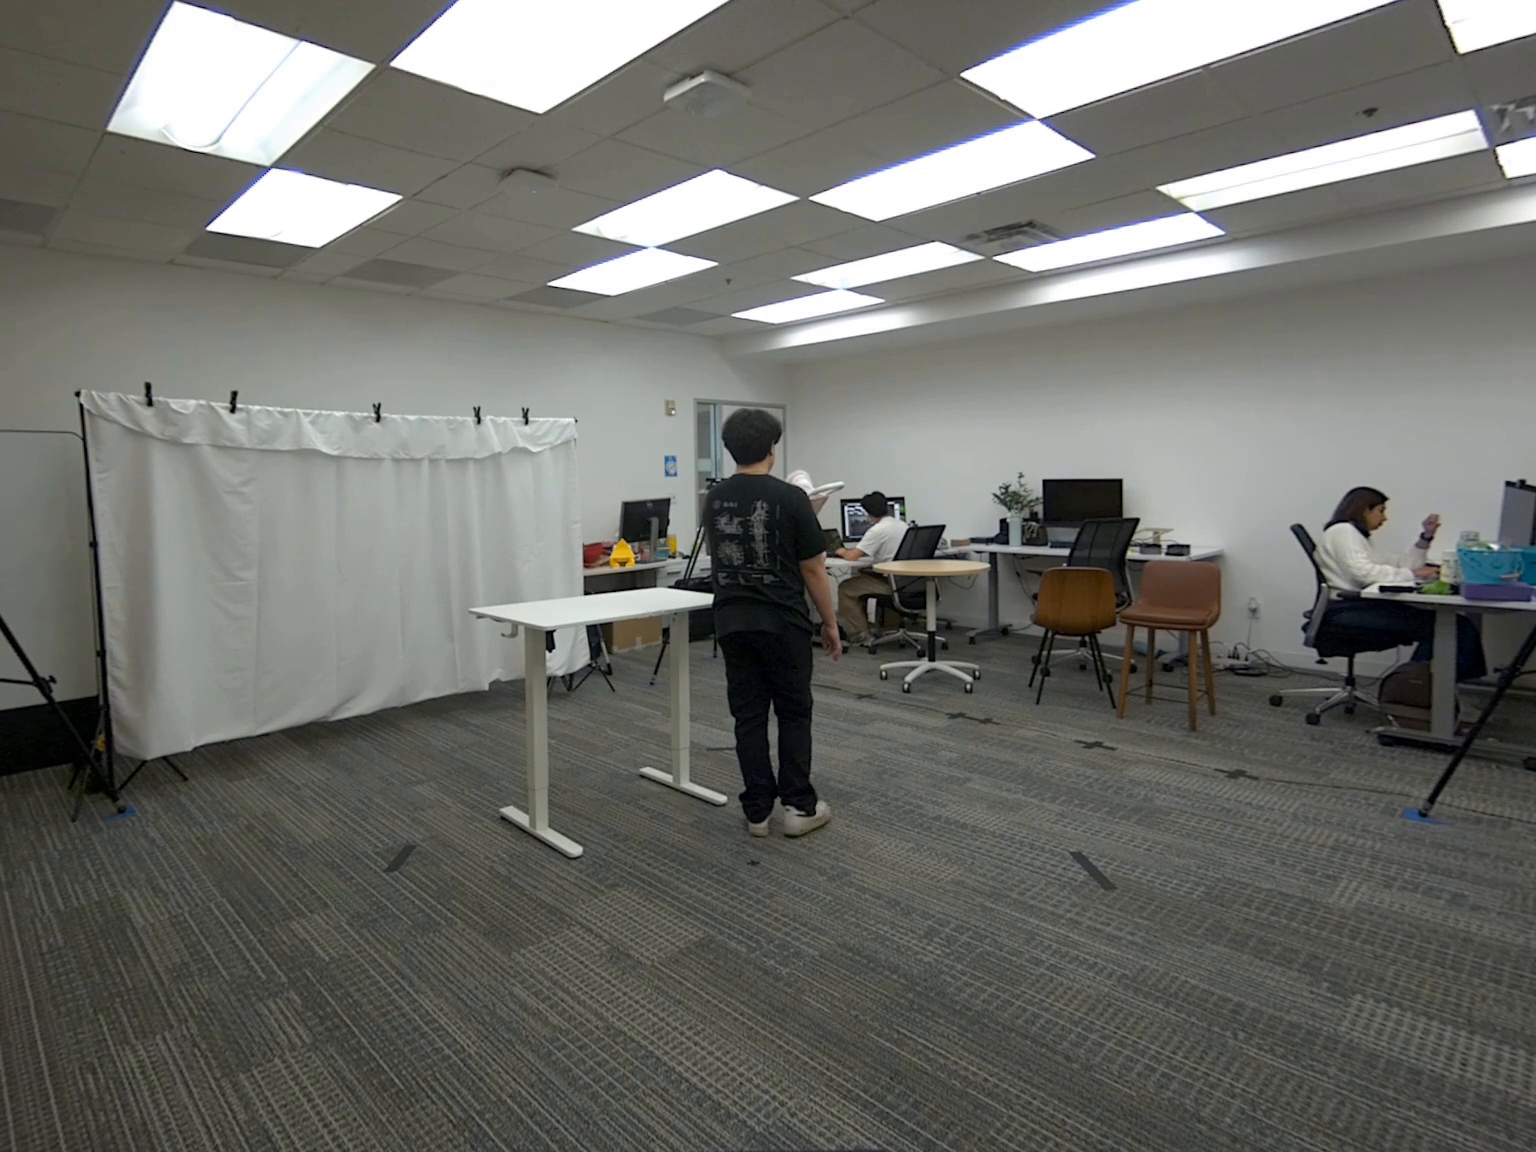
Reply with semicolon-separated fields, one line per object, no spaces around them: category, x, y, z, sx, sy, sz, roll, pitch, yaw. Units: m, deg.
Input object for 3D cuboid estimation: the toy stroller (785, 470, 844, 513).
toy stroller;0.116;-0.258;3.970;0.275;0.527;0.354;-15;38;-44
